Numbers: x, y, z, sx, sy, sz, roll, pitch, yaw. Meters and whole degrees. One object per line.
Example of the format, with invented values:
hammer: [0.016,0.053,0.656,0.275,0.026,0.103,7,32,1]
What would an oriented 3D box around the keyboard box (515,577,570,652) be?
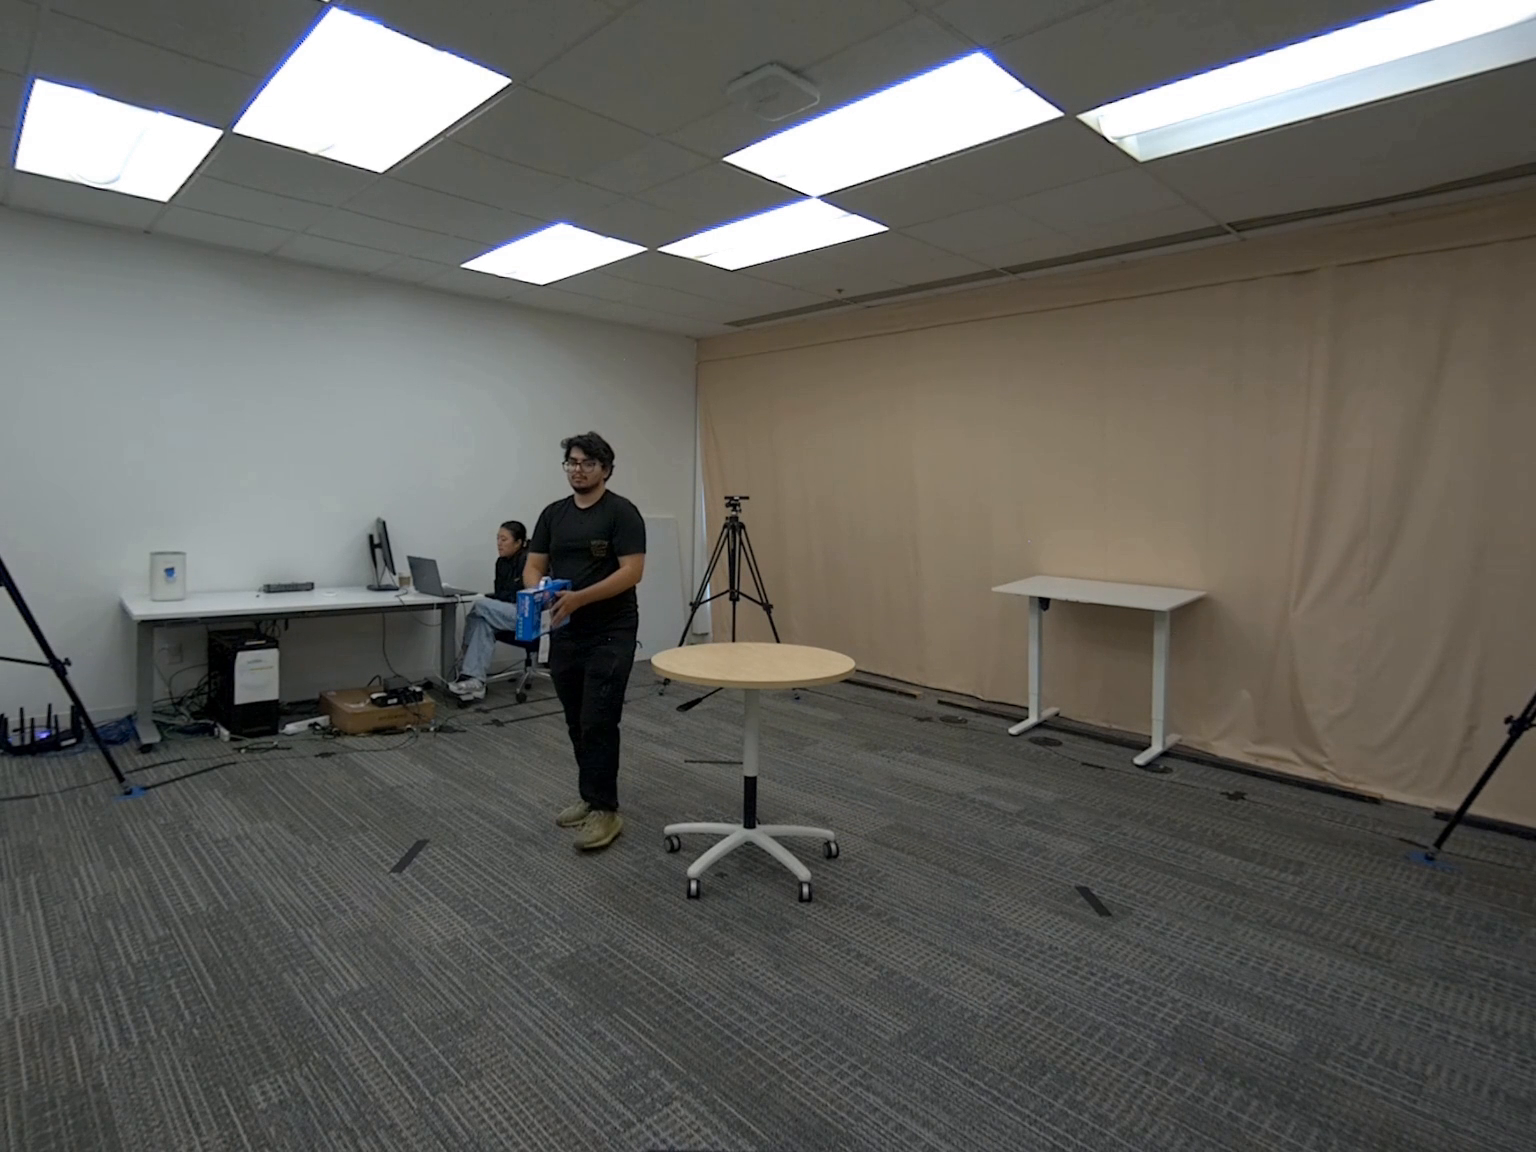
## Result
keyboard box: [-0.840,0.124,3.142,0.059,0.175,0.436,3,5,4]
